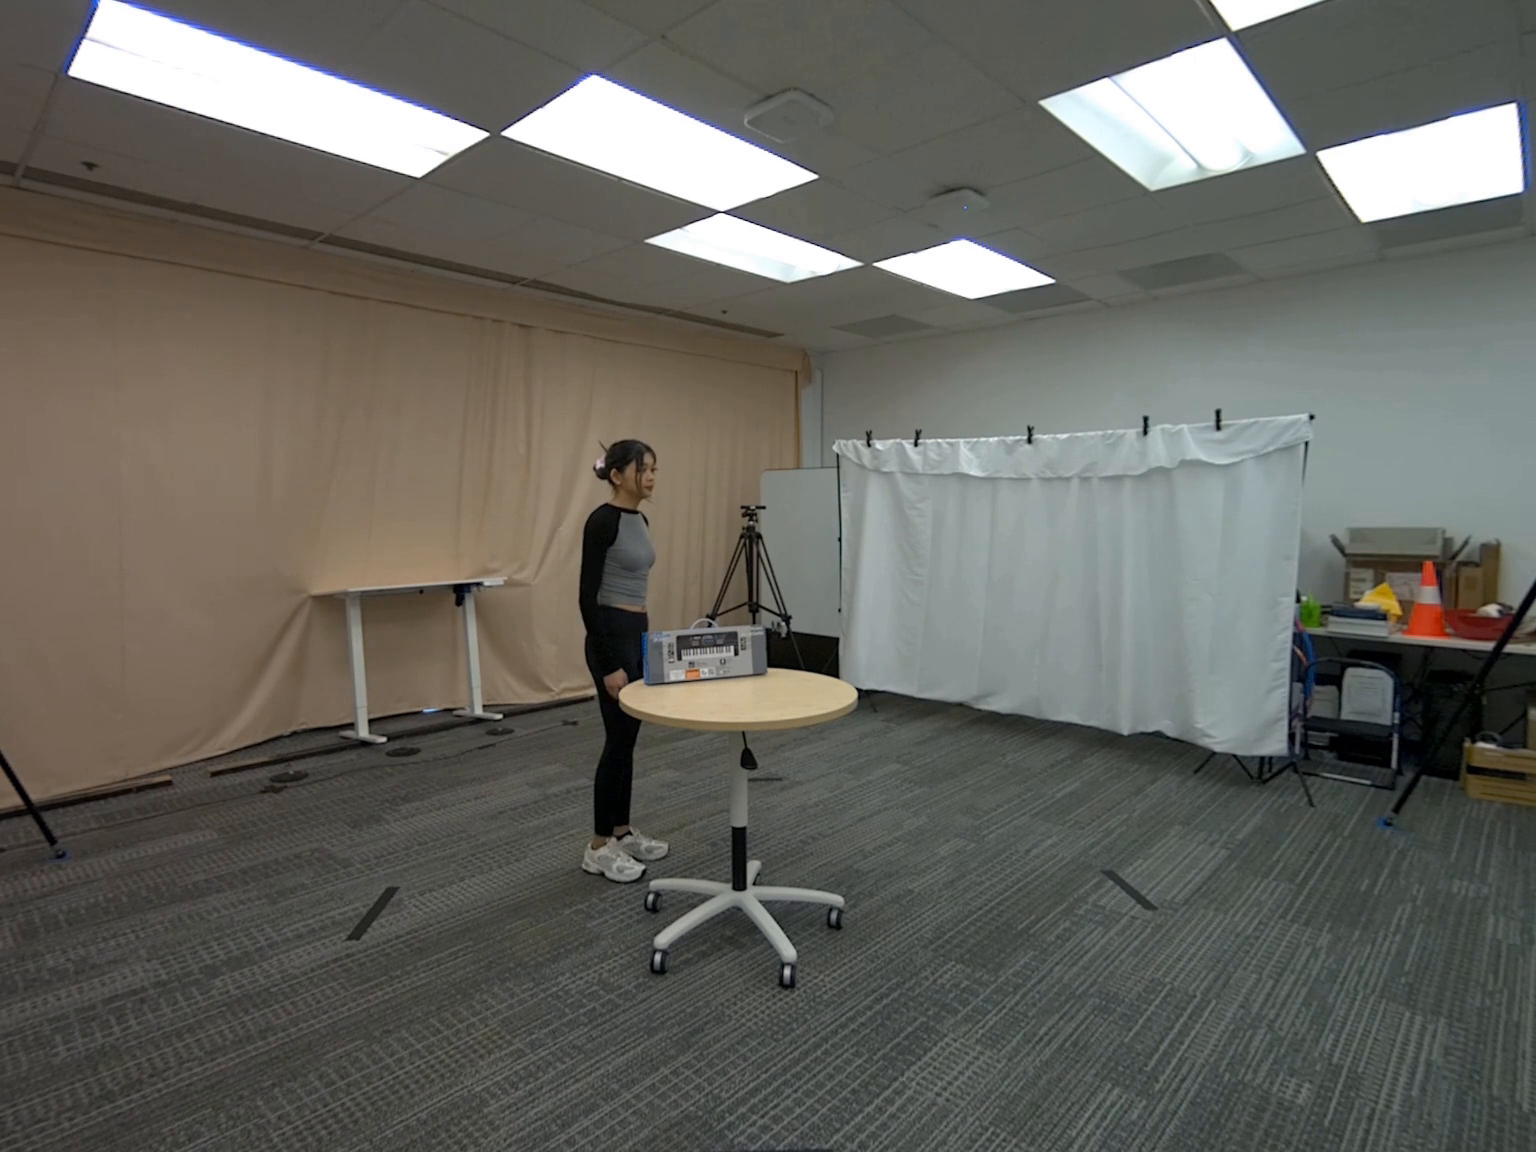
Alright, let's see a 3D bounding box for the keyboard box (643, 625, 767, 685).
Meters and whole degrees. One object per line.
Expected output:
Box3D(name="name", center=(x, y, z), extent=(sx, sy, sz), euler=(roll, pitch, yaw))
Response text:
Box3D(name="keyboard box", center=(-0.216, 0.270, 2.909), extent=(0.428, 0.176, 0.060), euler=(-2, -2, -21))
